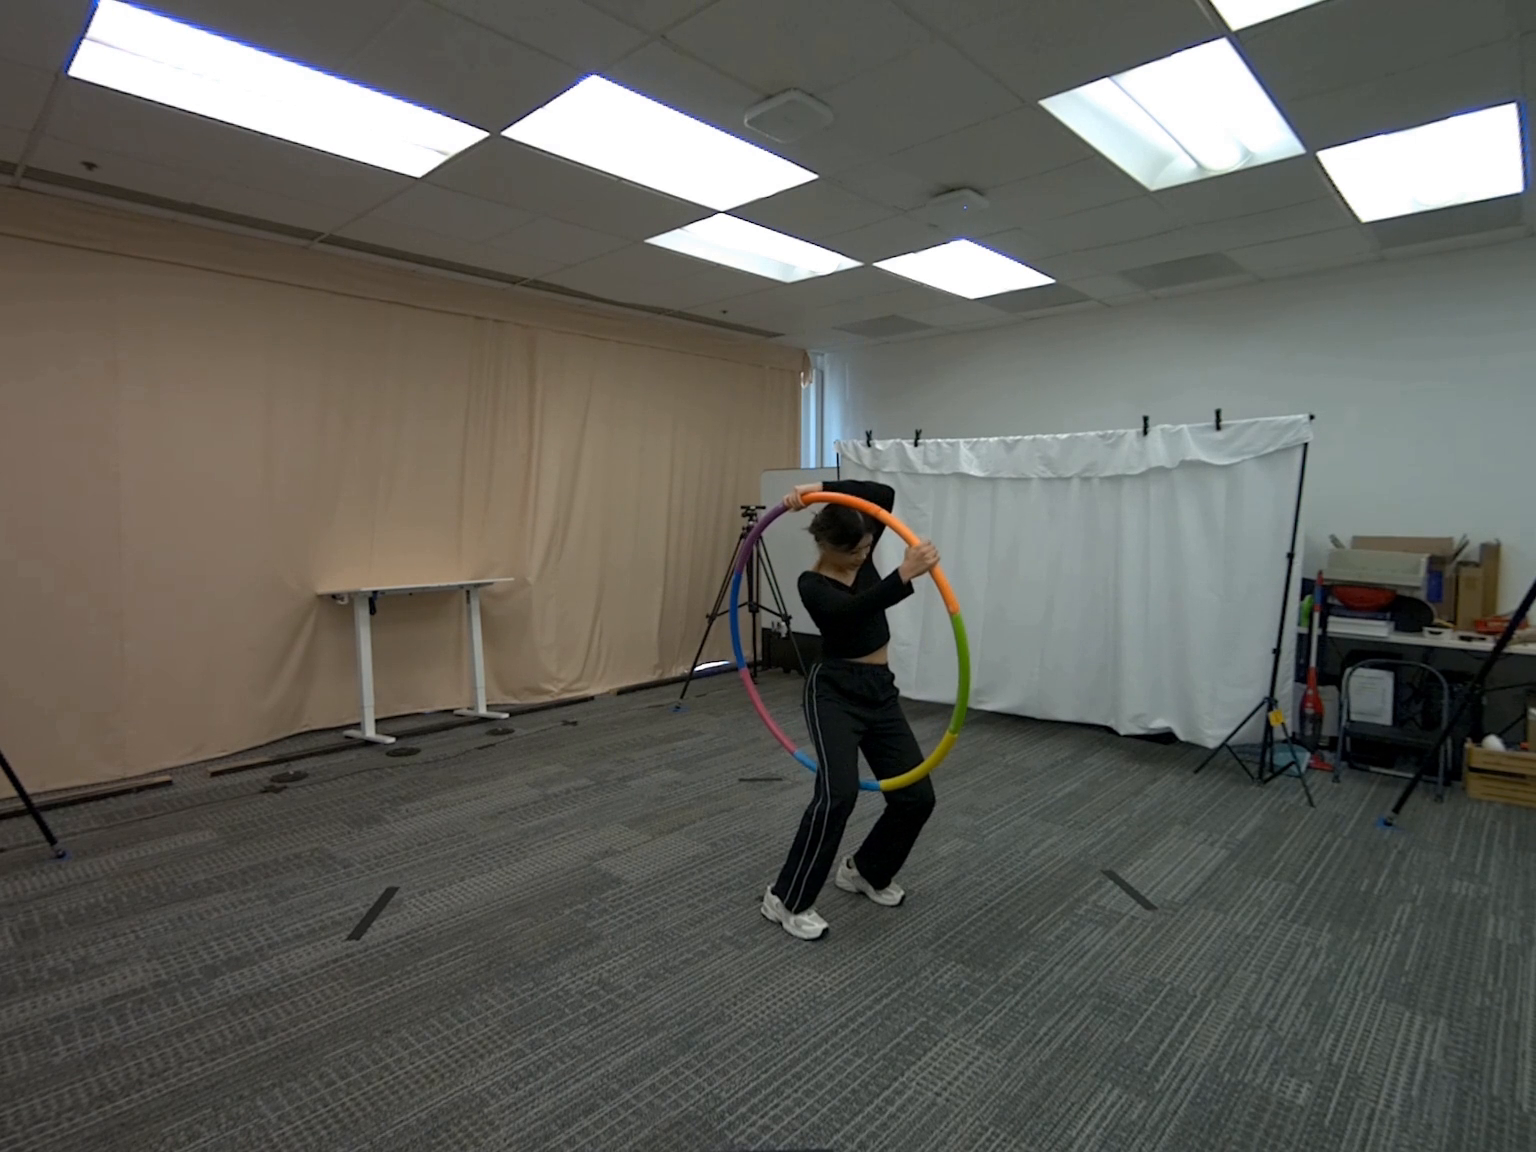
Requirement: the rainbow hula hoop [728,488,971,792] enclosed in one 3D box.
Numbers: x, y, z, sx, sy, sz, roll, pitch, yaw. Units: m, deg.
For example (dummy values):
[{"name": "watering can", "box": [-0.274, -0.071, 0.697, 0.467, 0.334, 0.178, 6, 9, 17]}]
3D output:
[{"name": "rainbow hula hoop", "box": [0.230, 0.219, 2.769, 0.034, 0.972, 1.011, -14, 12, -43]}]
